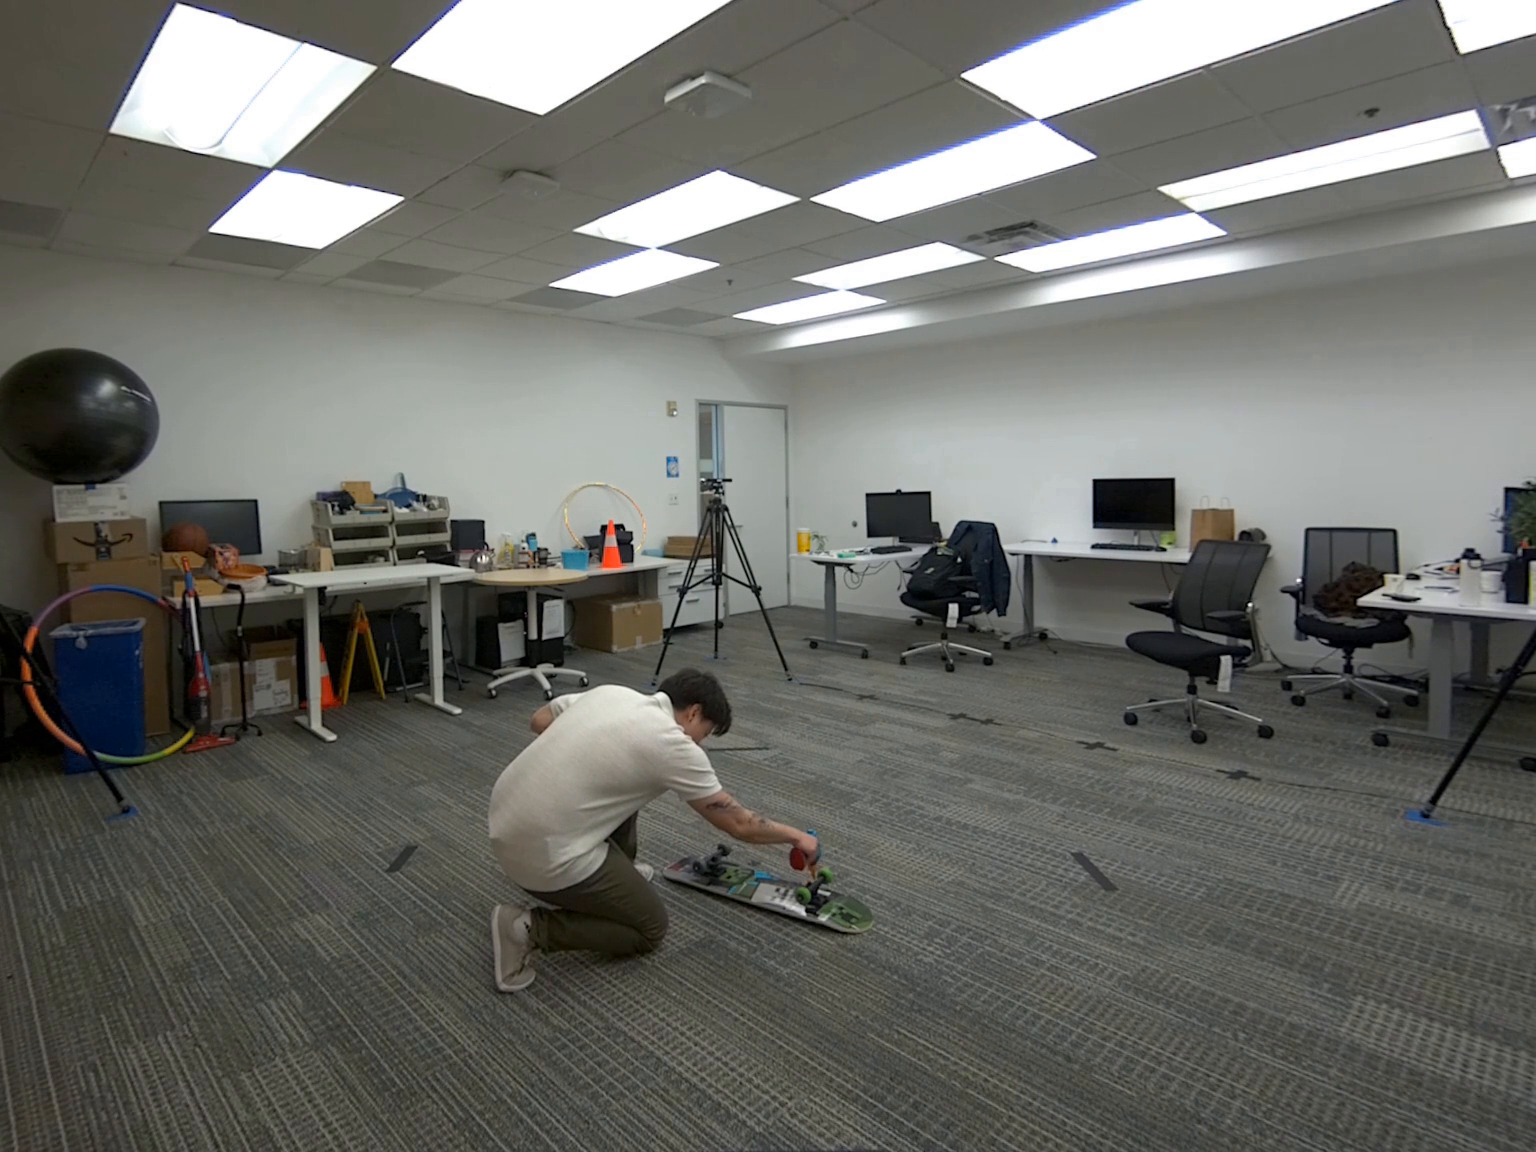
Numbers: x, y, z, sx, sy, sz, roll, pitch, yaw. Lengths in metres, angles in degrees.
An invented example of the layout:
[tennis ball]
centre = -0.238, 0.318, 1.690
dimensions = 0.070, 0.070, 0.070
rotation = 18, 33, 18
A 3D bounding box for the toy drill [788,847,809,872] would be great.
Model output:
[toy drill]
centre = 0.131, 0.912, 2.737
dimensions = 0.063, 0.168, 0.144
rotation = 3, 11, 26
